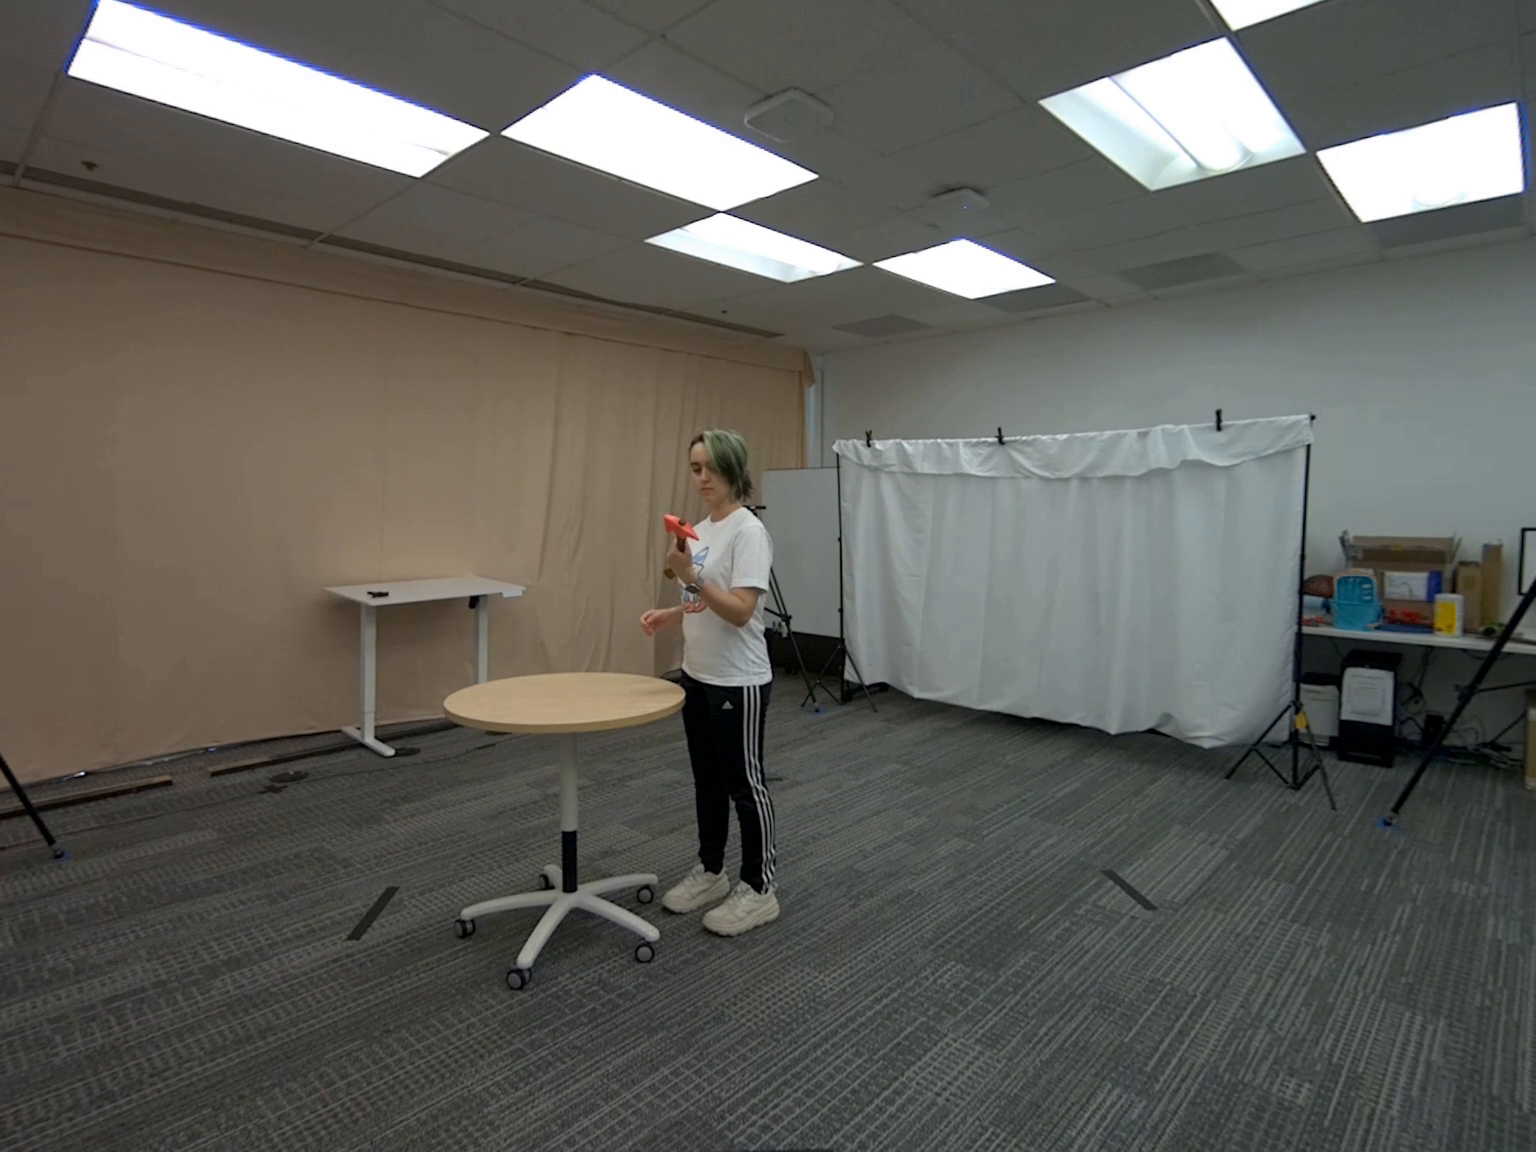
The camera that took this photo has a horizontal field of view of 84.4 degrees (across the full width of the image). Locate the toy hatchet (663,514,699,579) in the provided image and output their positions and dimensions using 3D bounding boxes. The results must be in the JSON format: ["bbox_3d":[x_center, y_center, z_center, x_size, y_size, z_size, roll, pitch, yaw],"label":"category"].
[{"bbox_3d":[-0.299,-0.091,2.552,0.029,0.132,0.271,-41,-4,-35],"label":"toy hatchet"}]
